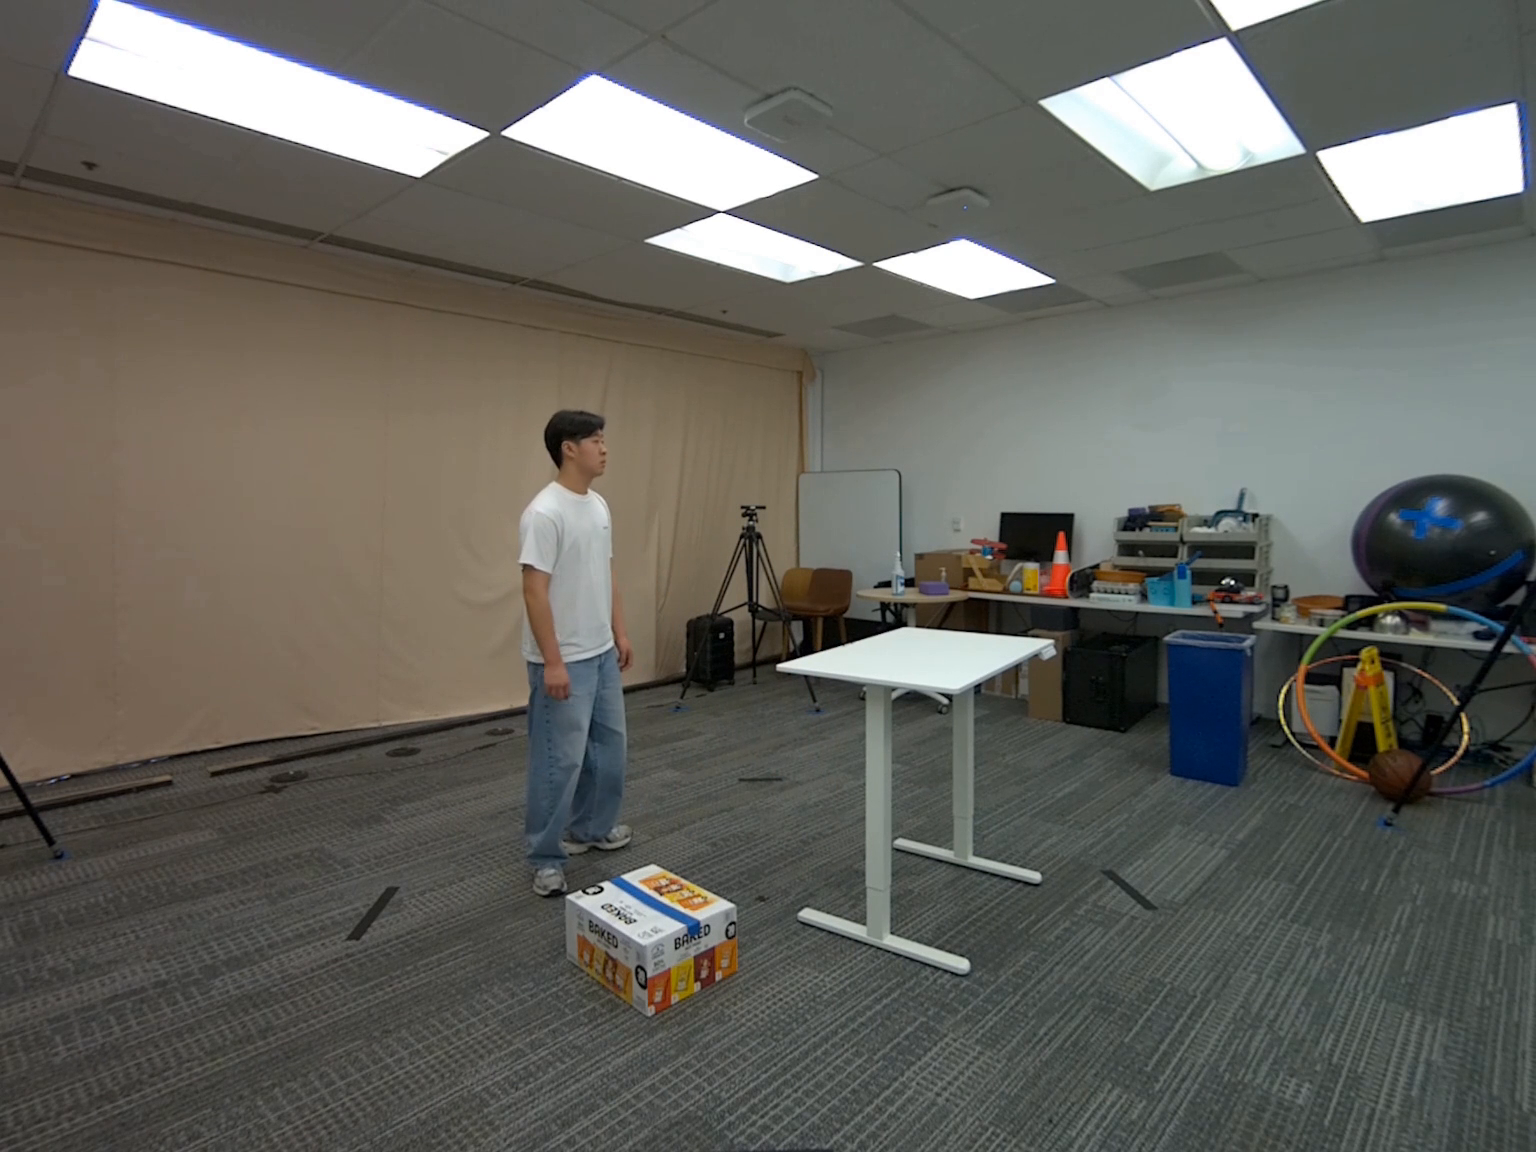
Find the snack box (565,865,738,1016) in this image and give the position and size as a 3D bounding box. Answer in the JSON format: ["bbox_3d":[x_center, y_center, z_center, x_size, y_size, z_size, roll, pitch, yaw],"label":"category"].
[{"bbox_3d":[-0.354,1.082,2.541,0.330,0.205,0.419,-4,6,-44],"label":"snack box"}]
